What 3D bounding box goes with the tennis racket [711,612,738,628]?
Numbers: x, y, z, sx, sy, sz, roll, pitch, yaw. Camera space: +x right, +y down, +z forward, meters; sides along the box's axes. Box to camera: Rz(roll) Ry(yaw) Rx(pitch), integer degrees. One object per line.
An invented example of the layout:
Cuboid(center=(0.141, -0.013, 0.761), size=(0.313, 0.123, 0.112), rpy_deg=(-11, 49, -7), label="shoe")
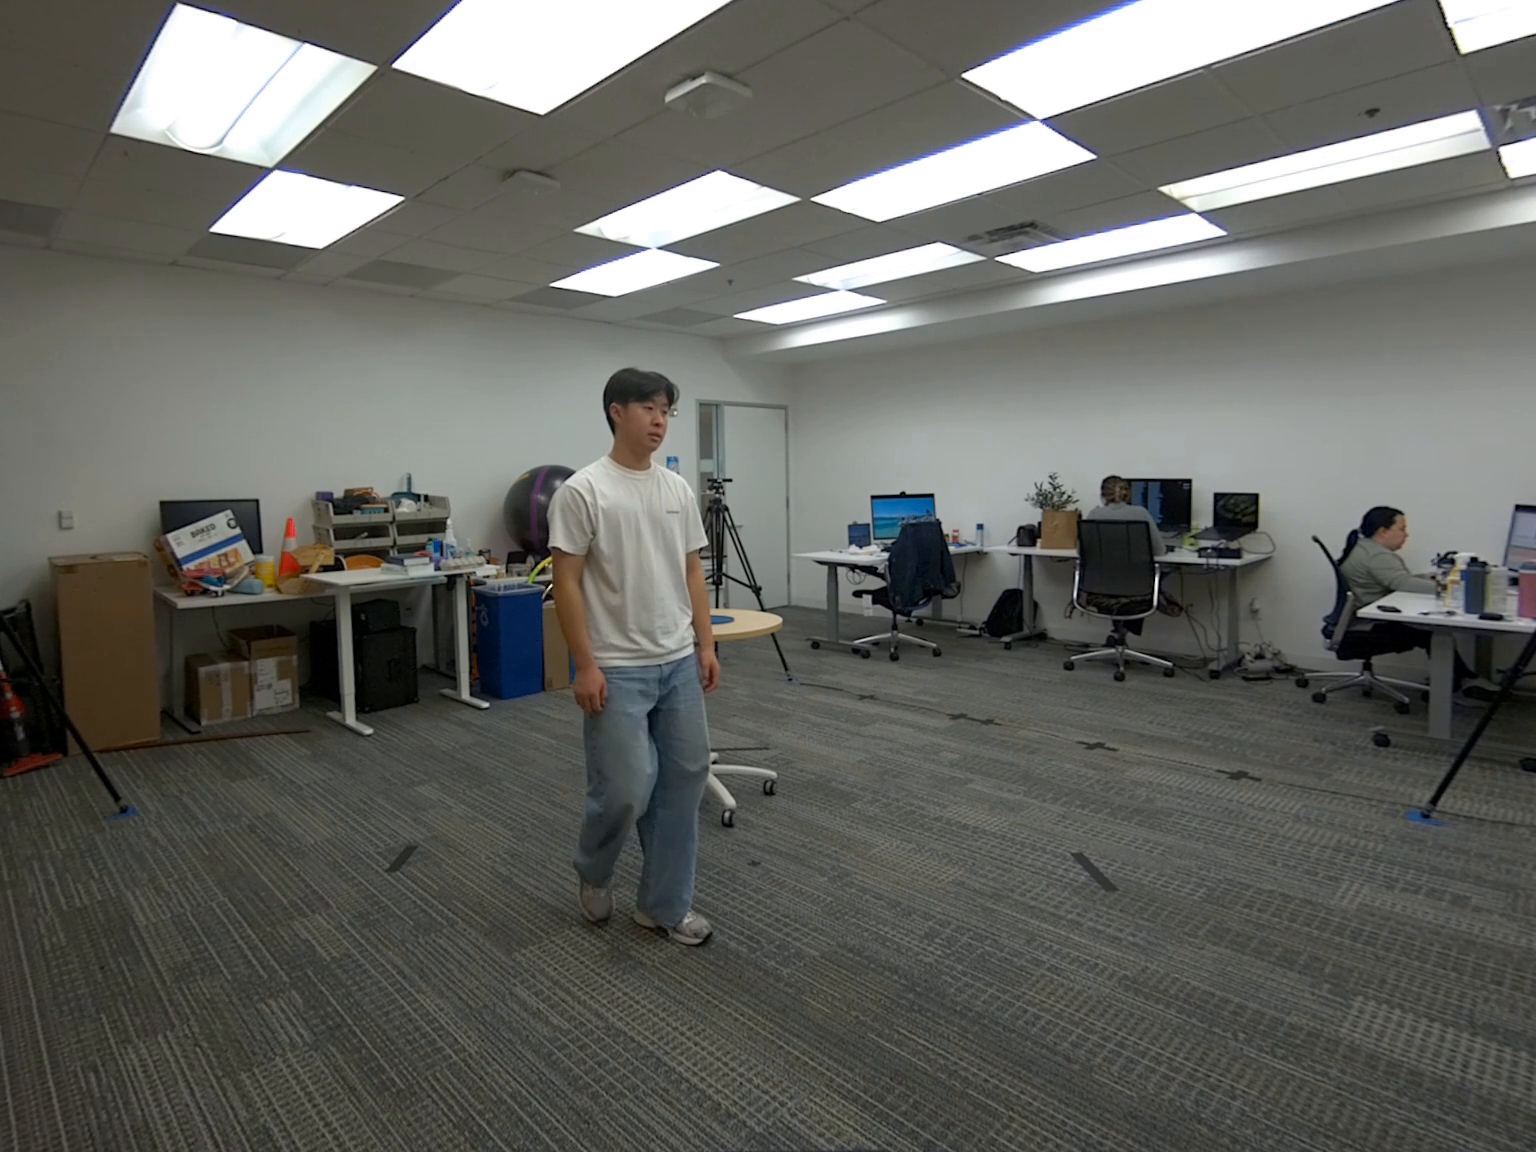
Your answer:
Cuboid(center=(-0.365, 0.190, 3.698), size=(0.429, 0.031, 0.216), rpy_deg=(-1, 6, -10), label="tennis racket")
